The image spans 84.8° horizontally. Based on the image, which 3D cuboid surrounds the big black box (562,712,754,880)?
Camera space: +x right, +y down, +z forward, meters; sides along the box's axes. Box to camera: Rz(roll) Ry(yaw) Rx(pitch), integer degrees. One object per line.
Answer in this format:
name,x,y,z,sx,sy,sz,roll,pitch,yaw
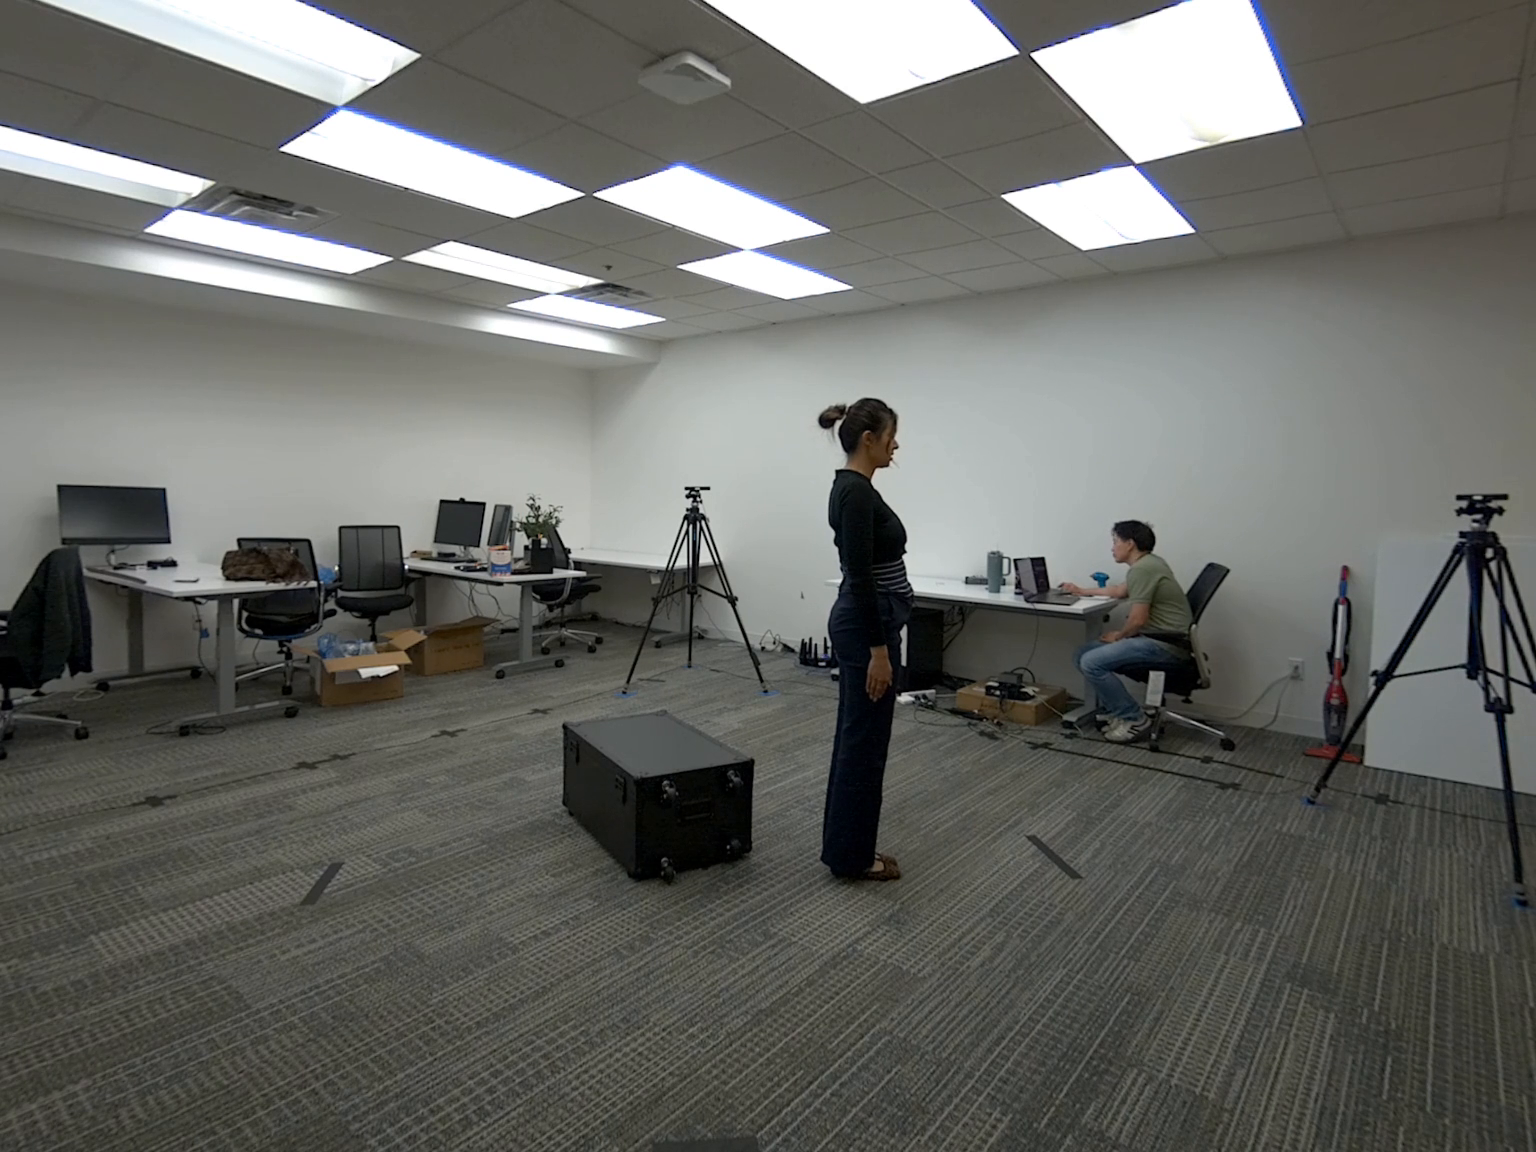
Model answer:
big black box,-0.497,0.840,3.444,0.507,0.395,0.889,-1,6,-31
